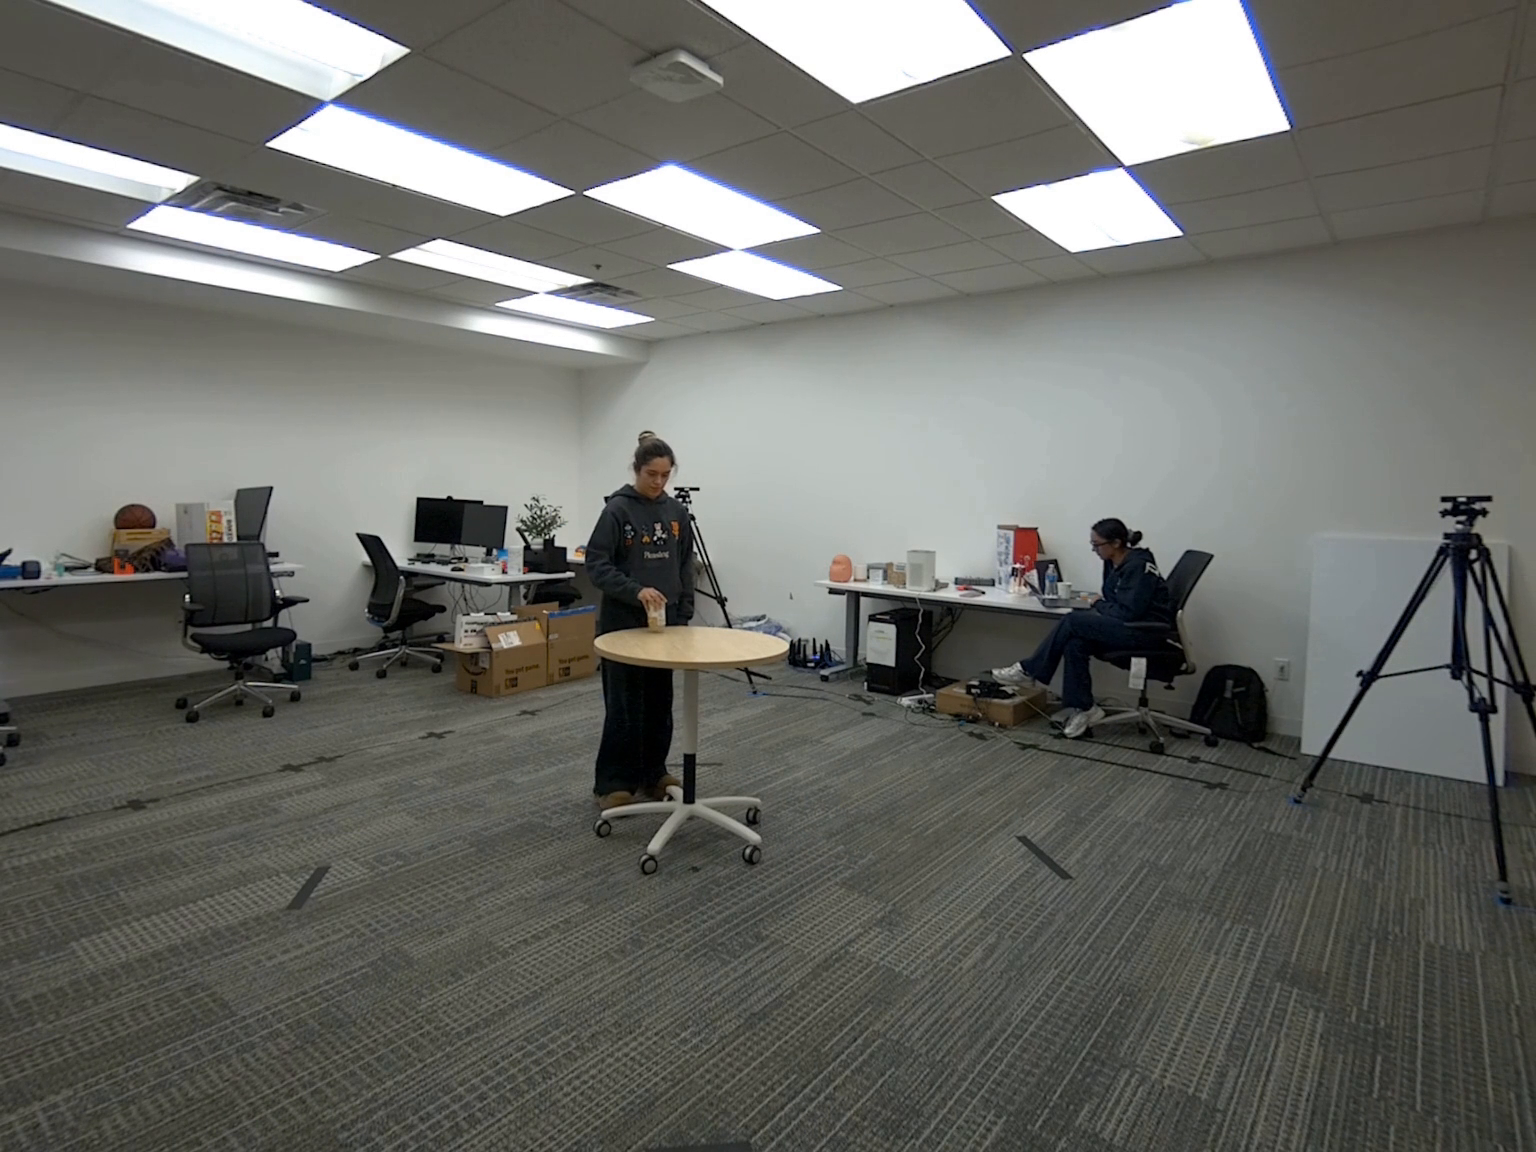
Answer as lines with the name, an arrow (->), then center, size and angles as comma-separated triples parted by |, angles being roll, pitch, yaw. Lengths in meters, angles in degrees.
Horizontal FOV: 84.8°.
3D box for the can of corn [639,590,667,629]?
can of corn -> -0.483, 0.155, 3.562 | 0.074, 0.111, 0.074 | 0, 2, -2
